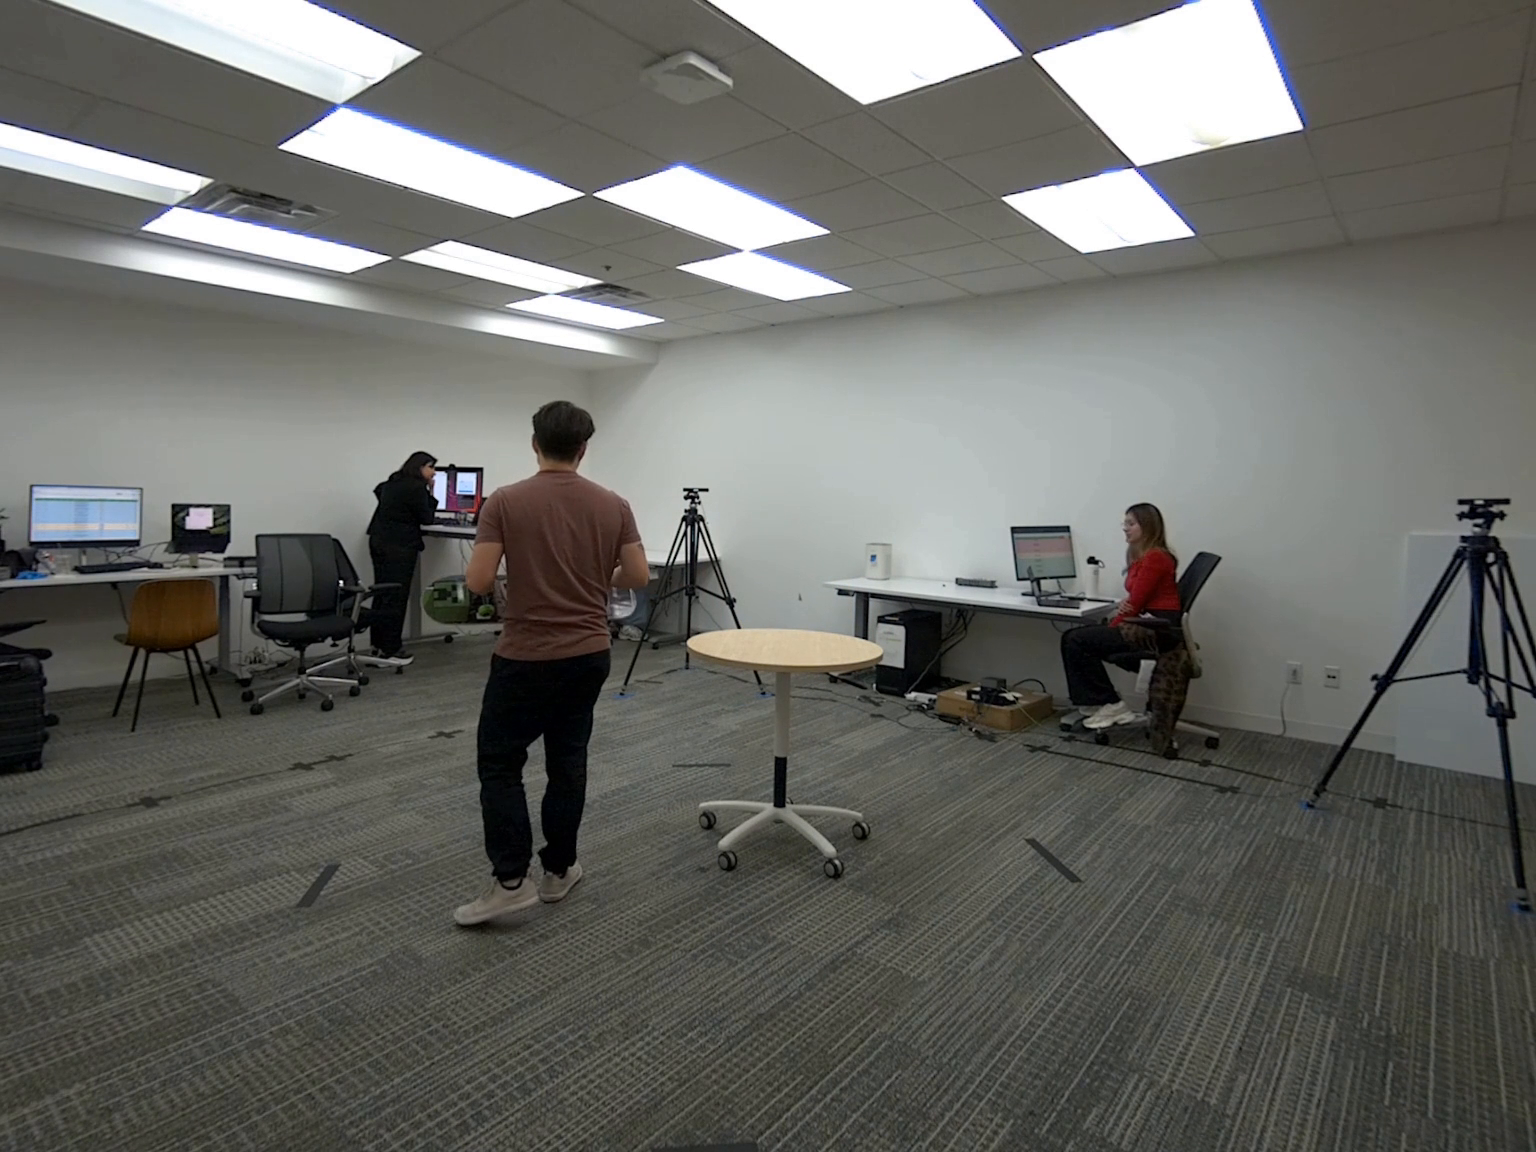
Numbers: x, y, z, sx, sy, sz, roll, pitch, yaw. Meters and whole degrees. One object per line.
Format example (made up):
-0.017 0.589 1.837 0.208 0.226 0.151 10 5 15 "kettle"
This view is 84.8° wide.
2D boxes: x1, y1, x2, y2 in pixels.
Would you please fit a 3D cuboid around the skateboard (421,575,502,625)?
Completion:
-0.848 0.062 3.053 0.765 0.199 0.110 -1 -32 -28 "skateboard"
